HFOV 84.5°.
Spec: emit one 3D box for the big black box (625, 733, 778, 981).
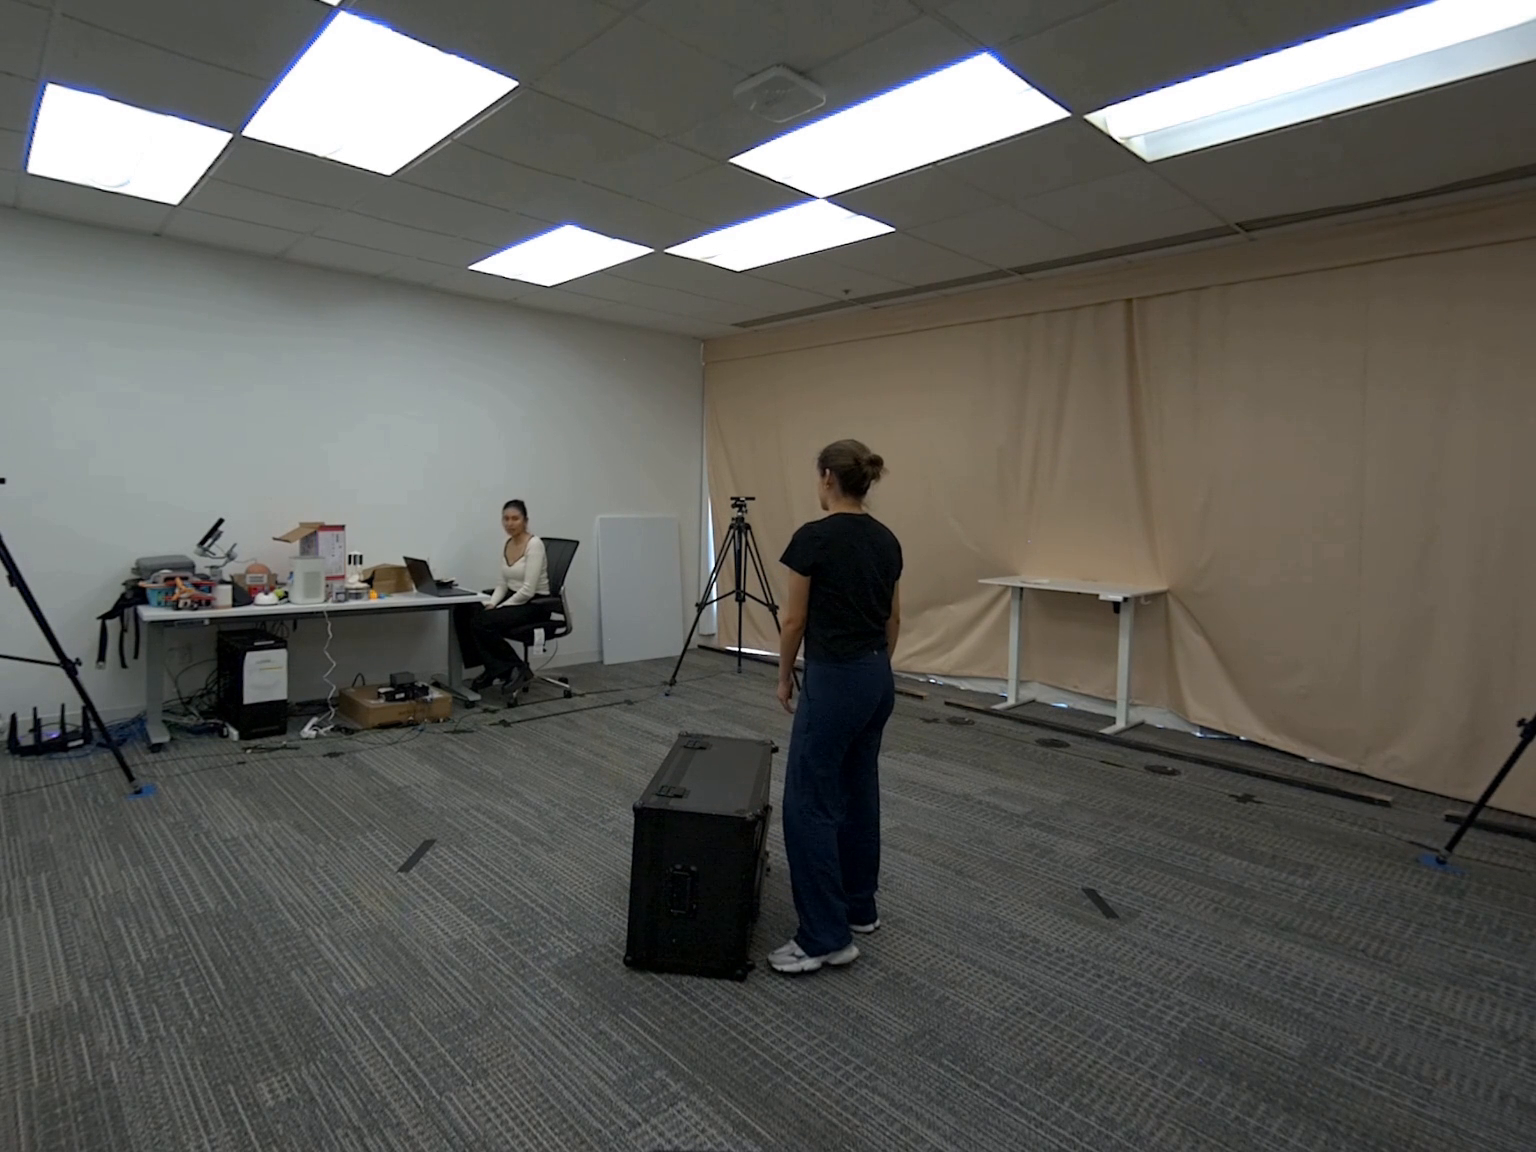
[{"bbox_3d":[-0.183,0.874,2.824,0.398,0.520,0.861,3,5,3],"label":"big black box"}]
